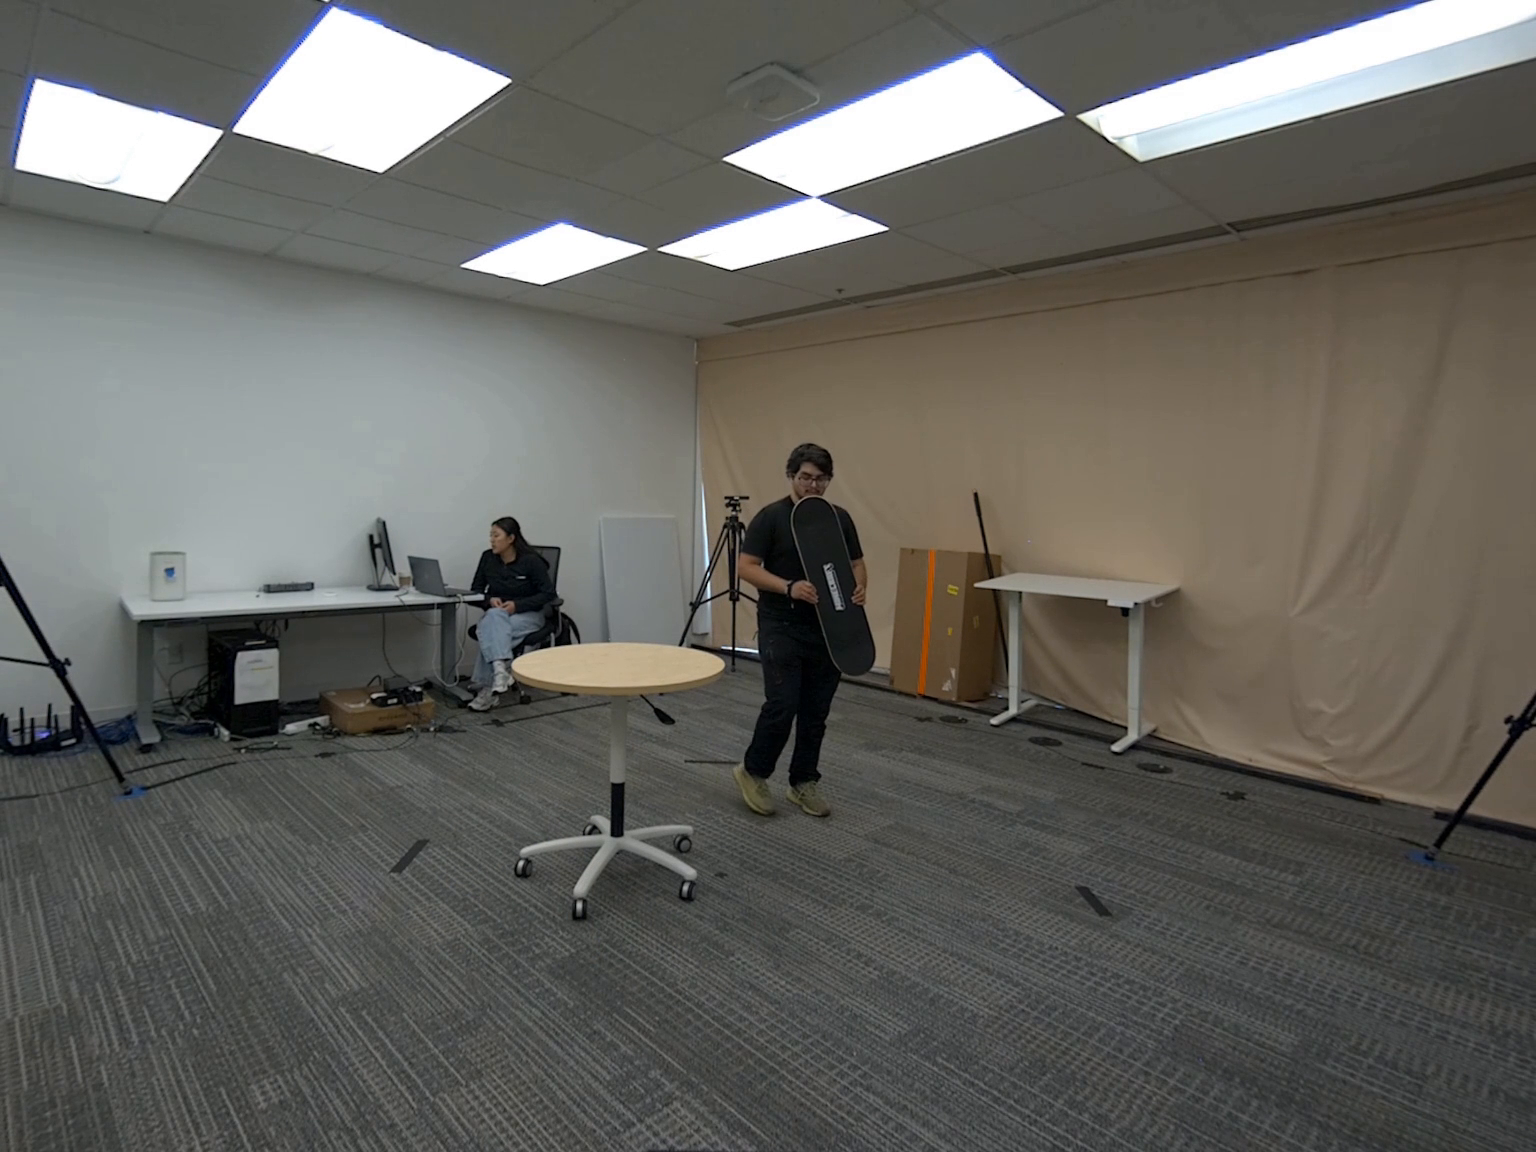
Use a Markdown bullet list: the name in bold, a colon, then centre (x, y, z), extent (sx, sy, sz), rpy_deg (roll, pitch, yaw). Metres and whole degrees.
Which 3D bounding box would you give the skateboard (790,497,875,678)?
- **skateboard**: centre (0.261, 0.041, 3.532), extent (0.193, 0.779, 0.111), rpy_deg (-16, 9, -4)
